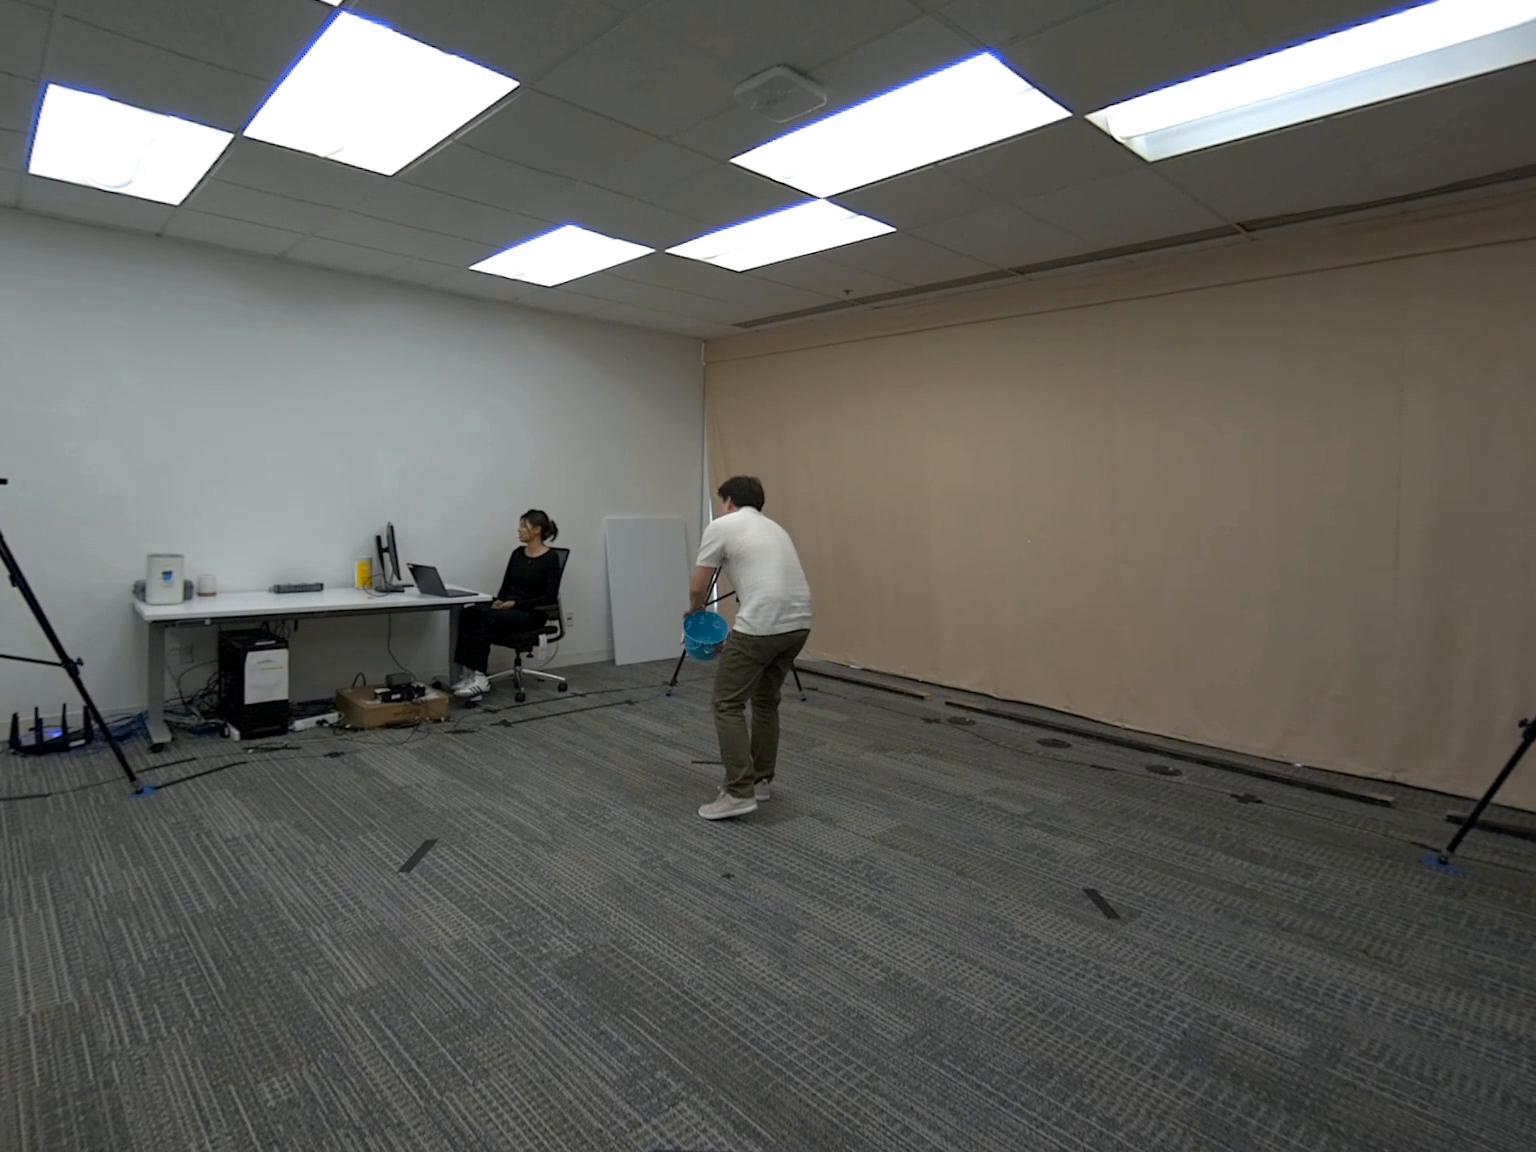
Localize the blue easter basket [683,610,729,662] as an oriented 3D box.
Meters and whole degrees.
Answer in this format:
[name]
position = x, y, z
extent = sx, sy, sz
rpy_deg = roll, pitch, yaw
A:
[blue easter basket]
position = -0.330, 0.305, 4.229
extent = 0.242, 0.153, 0.249
rpy_deg = 6, 40, -7
